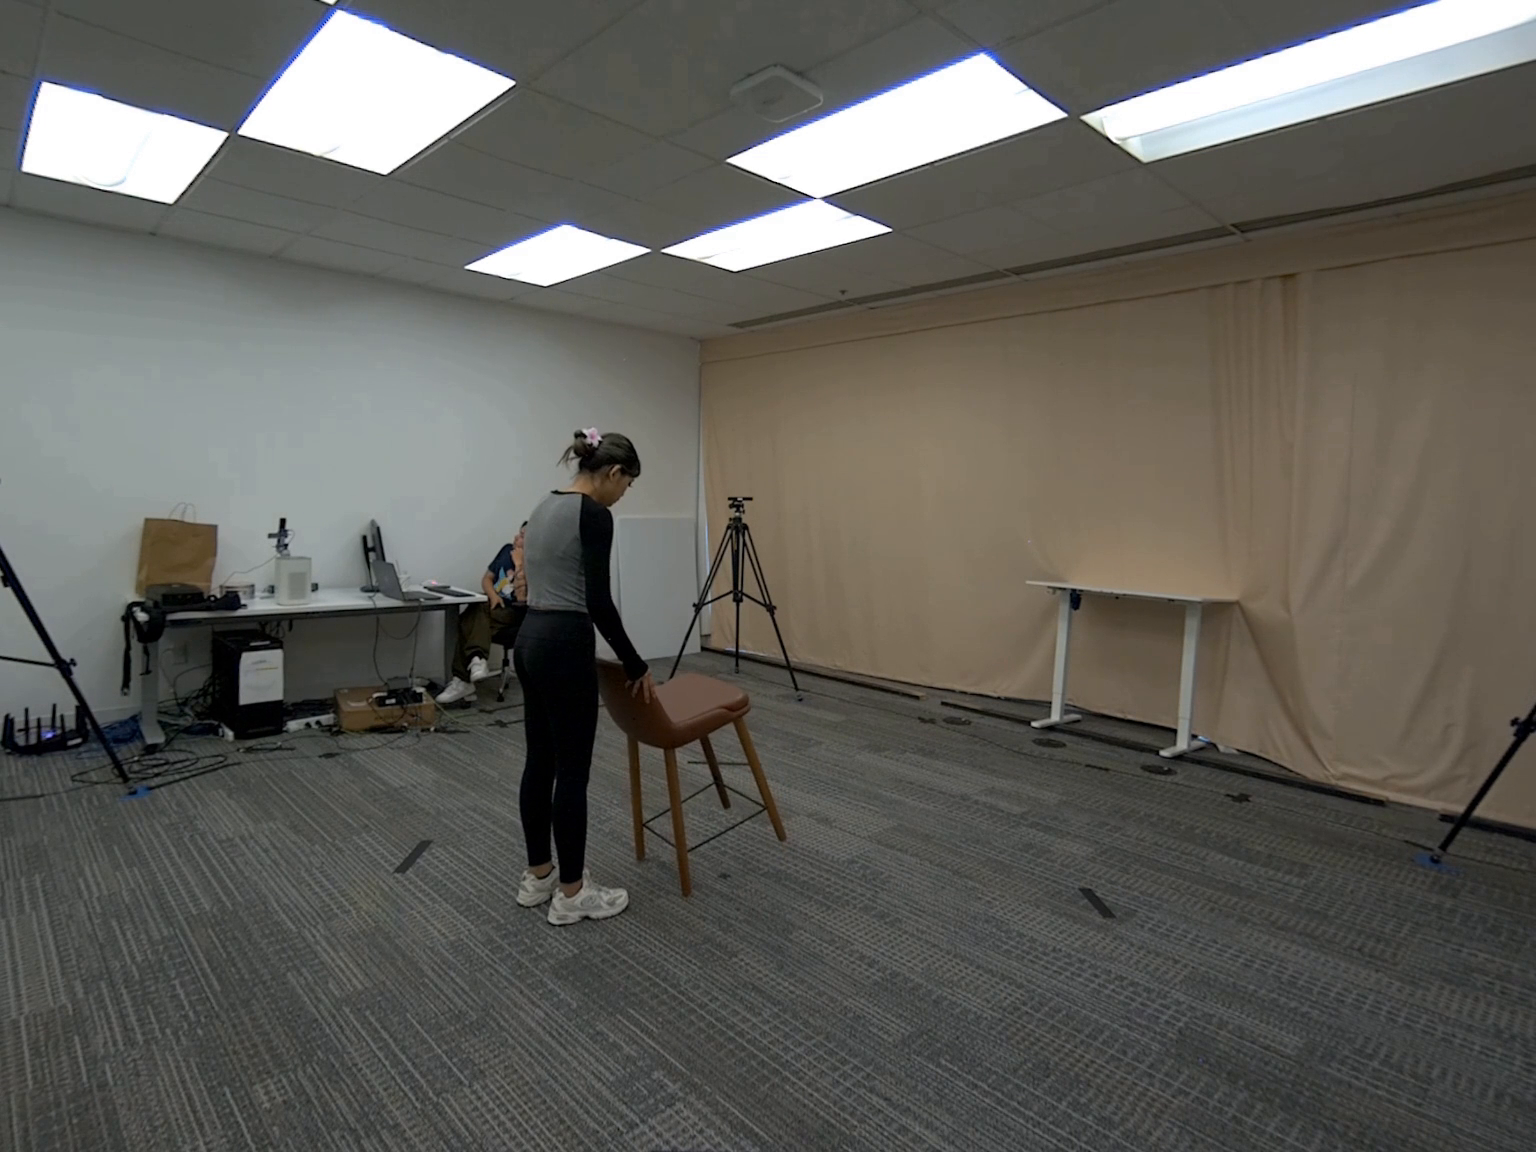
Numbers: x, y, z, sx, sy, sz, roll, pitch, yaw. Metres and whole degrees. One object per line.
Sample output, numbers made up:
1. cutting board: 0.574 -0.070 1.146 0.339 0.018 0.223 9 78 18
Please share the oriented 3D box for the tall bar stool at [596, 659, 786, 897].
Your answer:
1. tall bar stool: -0.321 0.628 3.106 0.462 0.879 0.468 -22 16 -31
